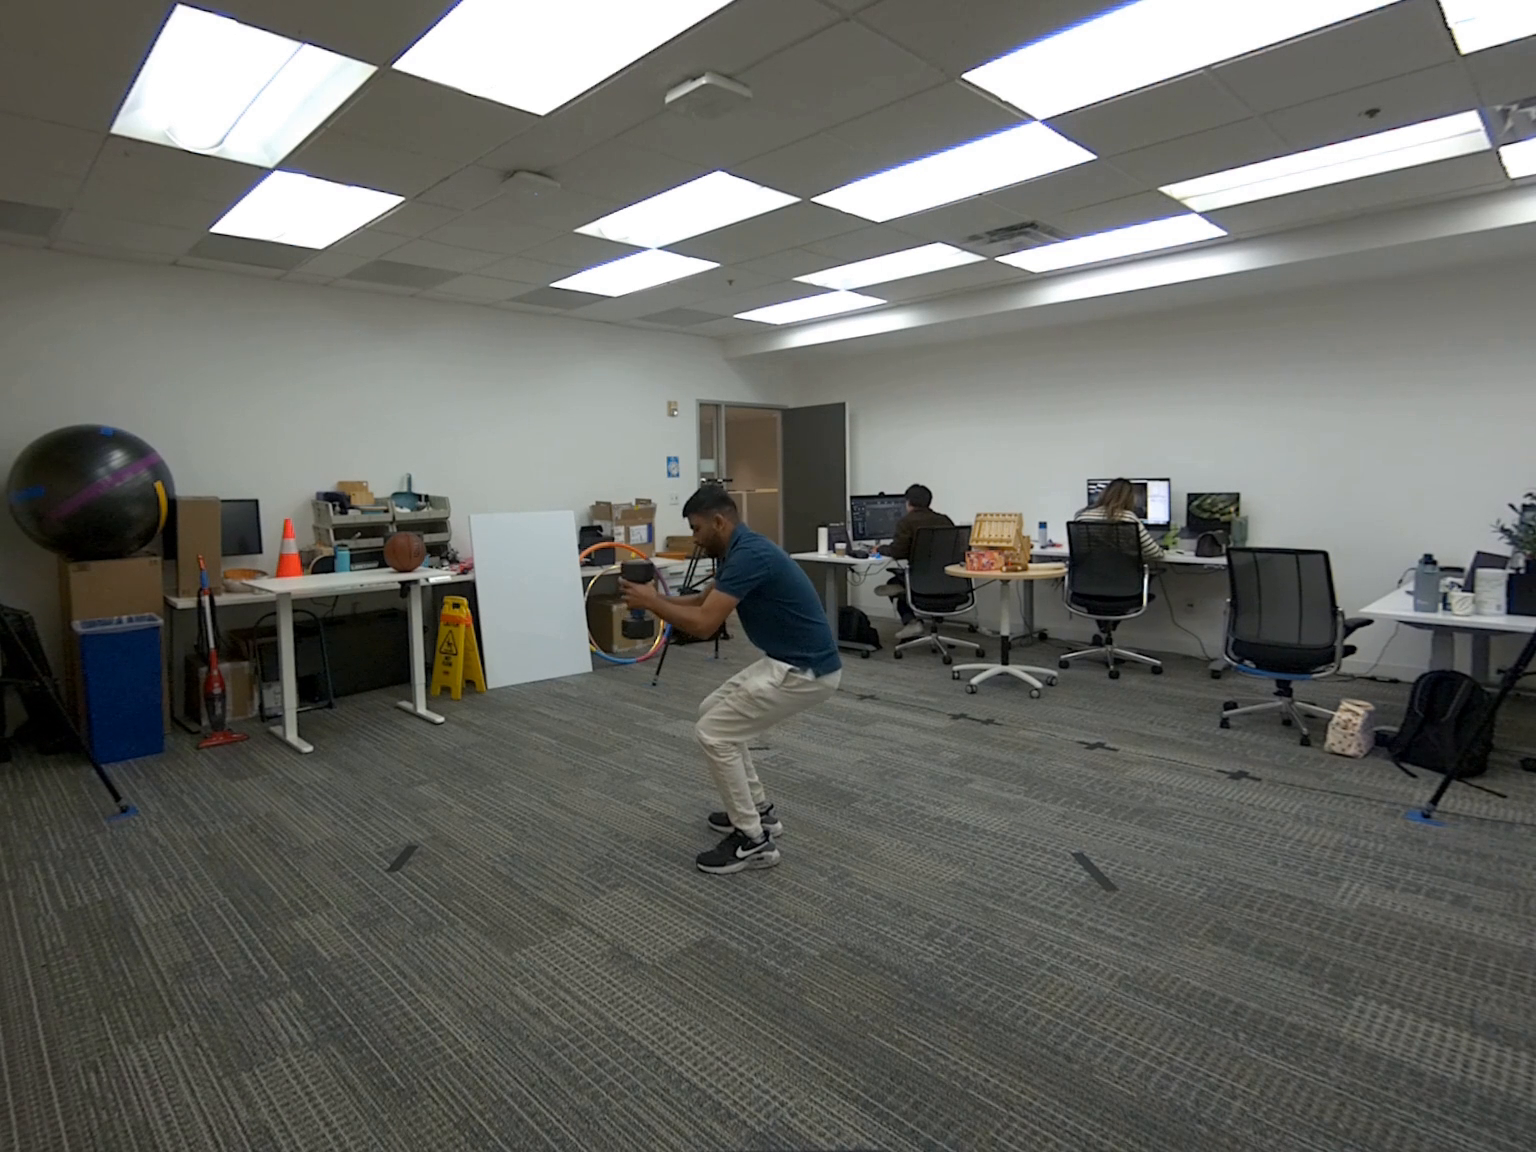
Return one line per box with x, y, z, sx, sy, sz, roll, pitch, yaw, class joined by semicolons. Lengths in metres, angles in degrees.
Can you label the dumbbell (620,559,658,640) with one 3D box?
-0.484;0.086;3.208;0.111;0.293;0.120;1;1;26;dumbbell
